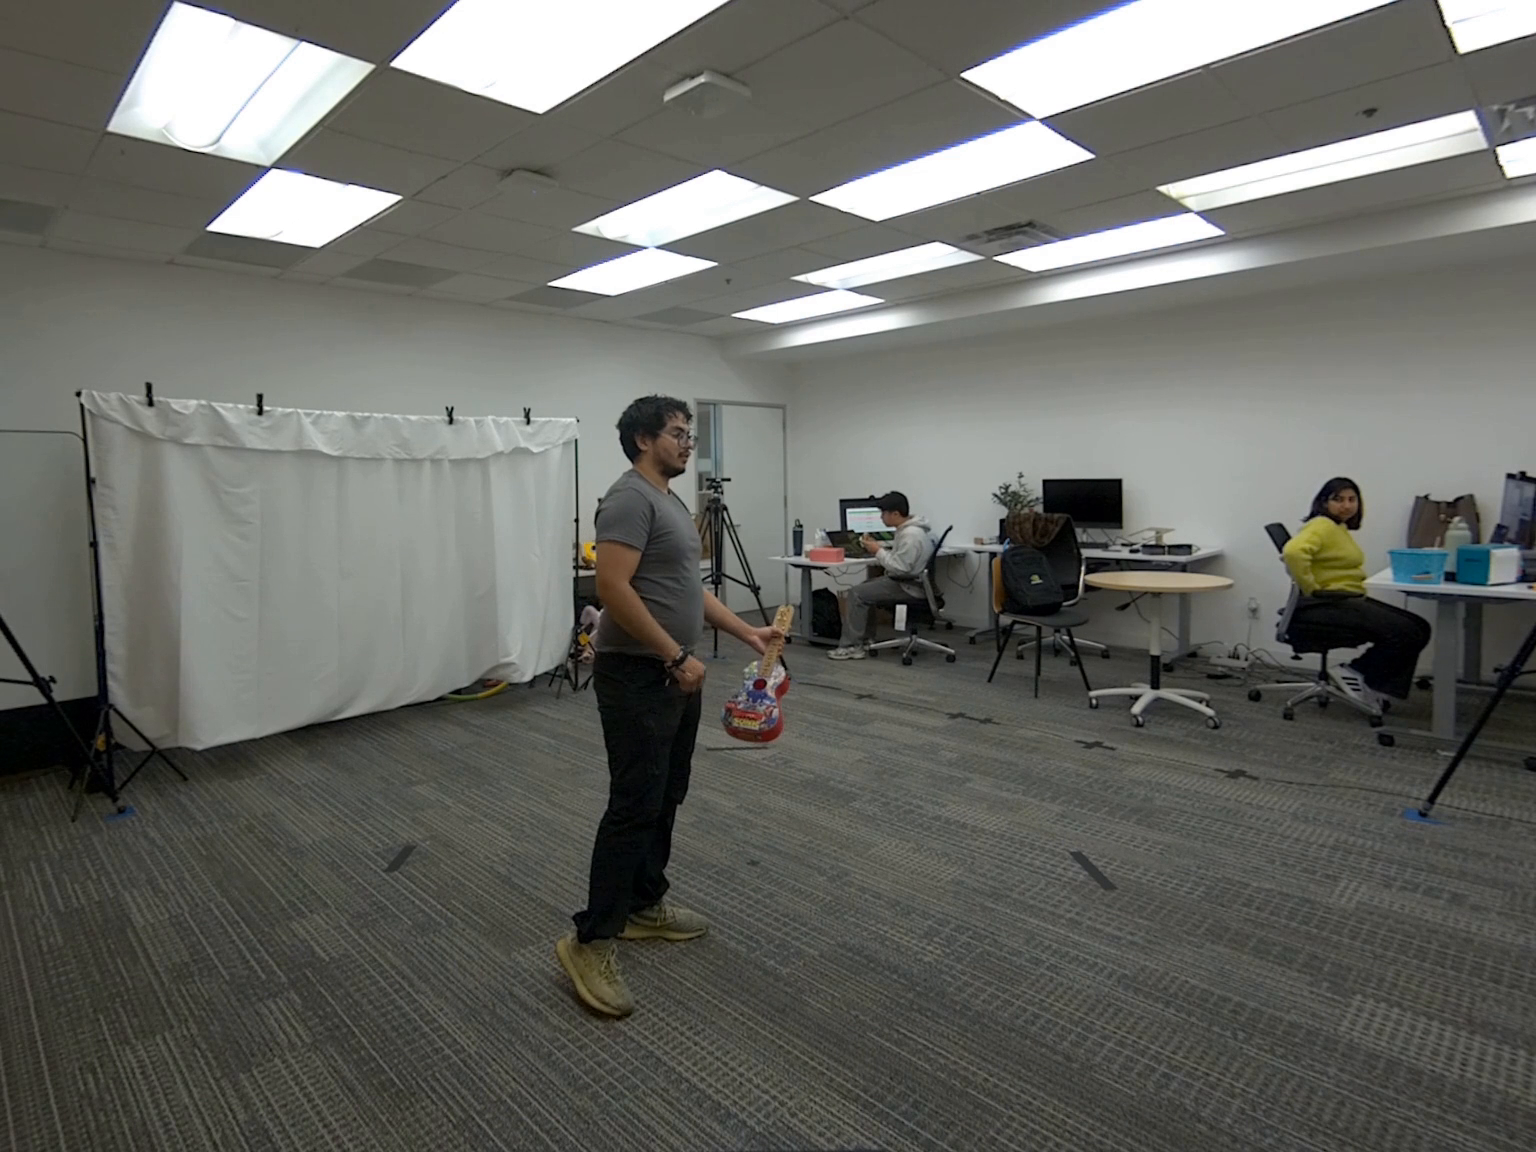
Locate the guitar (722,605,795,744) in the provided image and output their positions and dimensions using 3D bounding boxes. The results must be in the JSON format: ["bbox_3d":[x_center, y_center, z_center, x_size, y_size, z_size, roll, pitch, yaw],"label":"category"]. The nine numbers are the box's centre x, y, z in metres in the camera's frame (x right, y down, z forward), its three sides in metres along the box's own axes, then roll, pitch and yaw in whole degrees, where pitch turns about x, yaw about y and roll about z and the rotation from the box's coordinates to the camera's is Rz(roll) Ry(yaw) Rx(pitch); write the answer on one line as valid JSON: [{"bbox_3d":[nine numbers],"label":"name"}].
[{"bbox_3d":[0.026,0.314,2.769,0.199,0.068,0.500,13,53,29],"label":"guitar"}]
